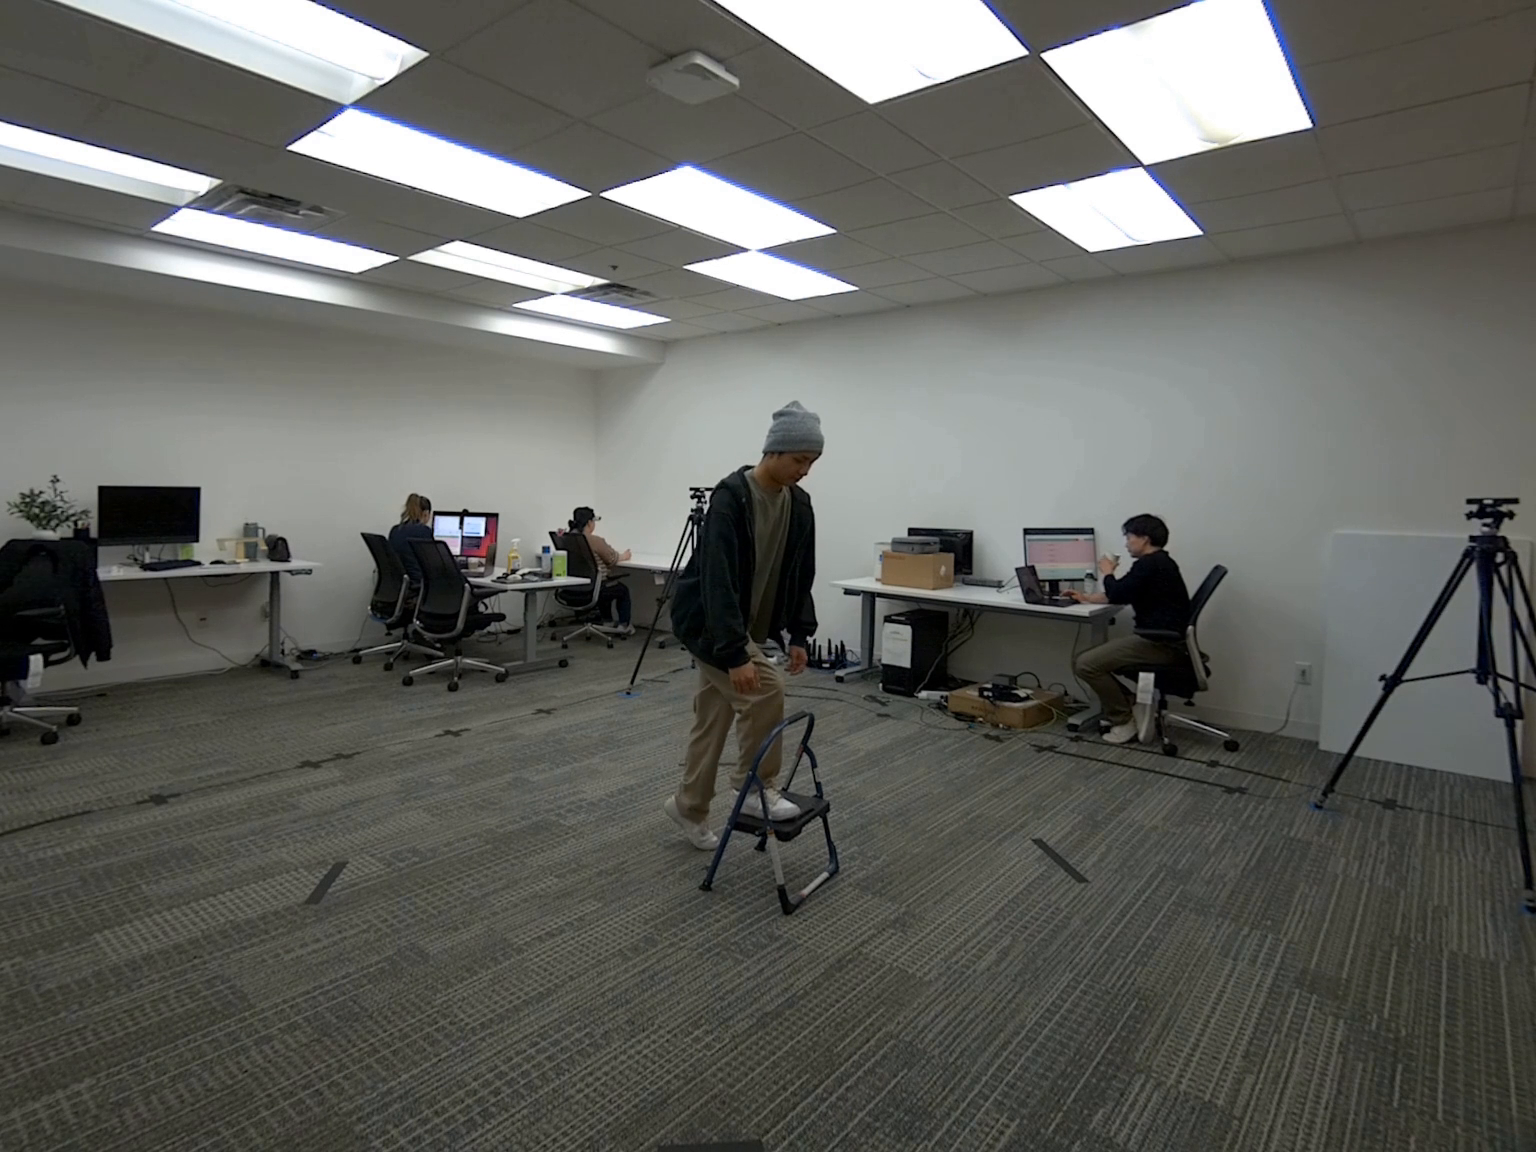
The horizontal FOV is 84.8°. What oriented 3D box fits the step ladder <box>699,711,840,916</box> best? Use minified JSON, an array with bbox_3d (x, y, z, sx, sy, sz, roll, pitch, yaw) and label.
[{"bbox_3d":[0.016,0.778,3.016,0.359,0.604,0.420,3,4,29],"label":"step ladder"}]
